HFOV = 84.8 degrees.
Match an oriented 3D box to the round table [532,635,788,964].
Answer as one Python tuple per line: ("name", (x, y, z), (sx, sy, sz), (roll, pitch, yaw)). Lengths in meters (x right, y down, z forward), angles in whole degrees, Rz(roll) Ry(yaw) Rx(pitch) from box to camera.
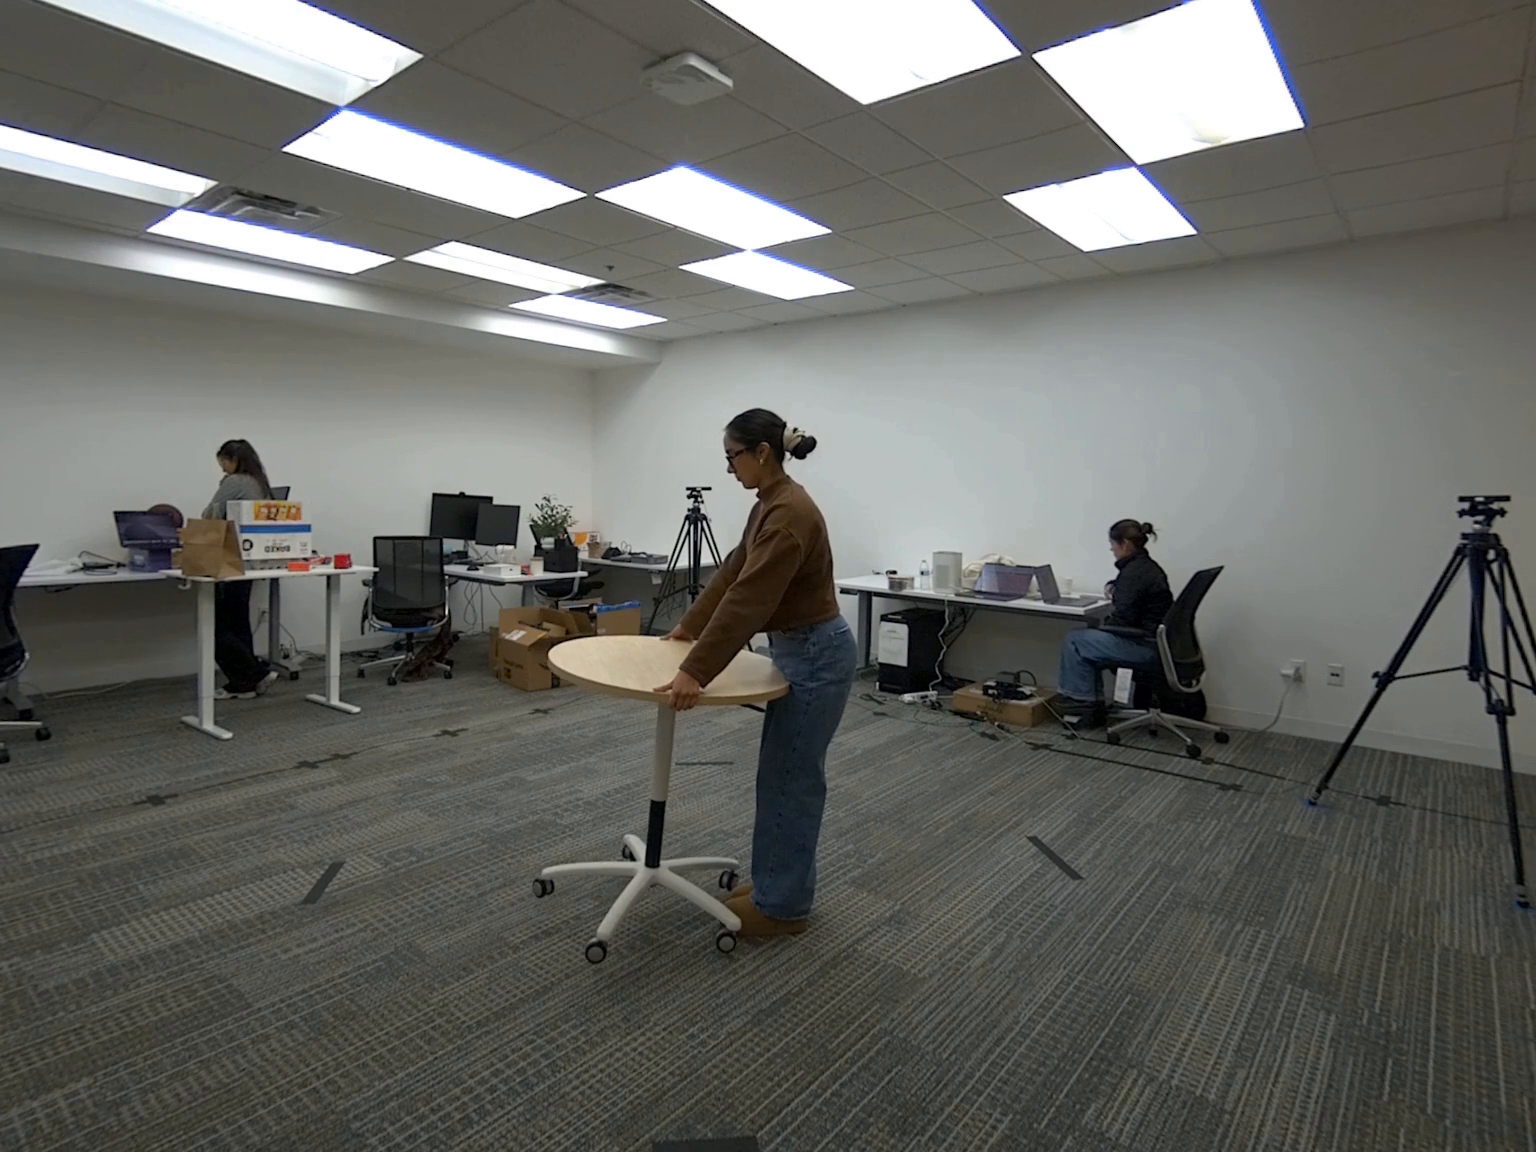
("round table", (-0.371, 0.663, 2.689), (0.784, 0.783, 0.790), (5, 5, -2))
